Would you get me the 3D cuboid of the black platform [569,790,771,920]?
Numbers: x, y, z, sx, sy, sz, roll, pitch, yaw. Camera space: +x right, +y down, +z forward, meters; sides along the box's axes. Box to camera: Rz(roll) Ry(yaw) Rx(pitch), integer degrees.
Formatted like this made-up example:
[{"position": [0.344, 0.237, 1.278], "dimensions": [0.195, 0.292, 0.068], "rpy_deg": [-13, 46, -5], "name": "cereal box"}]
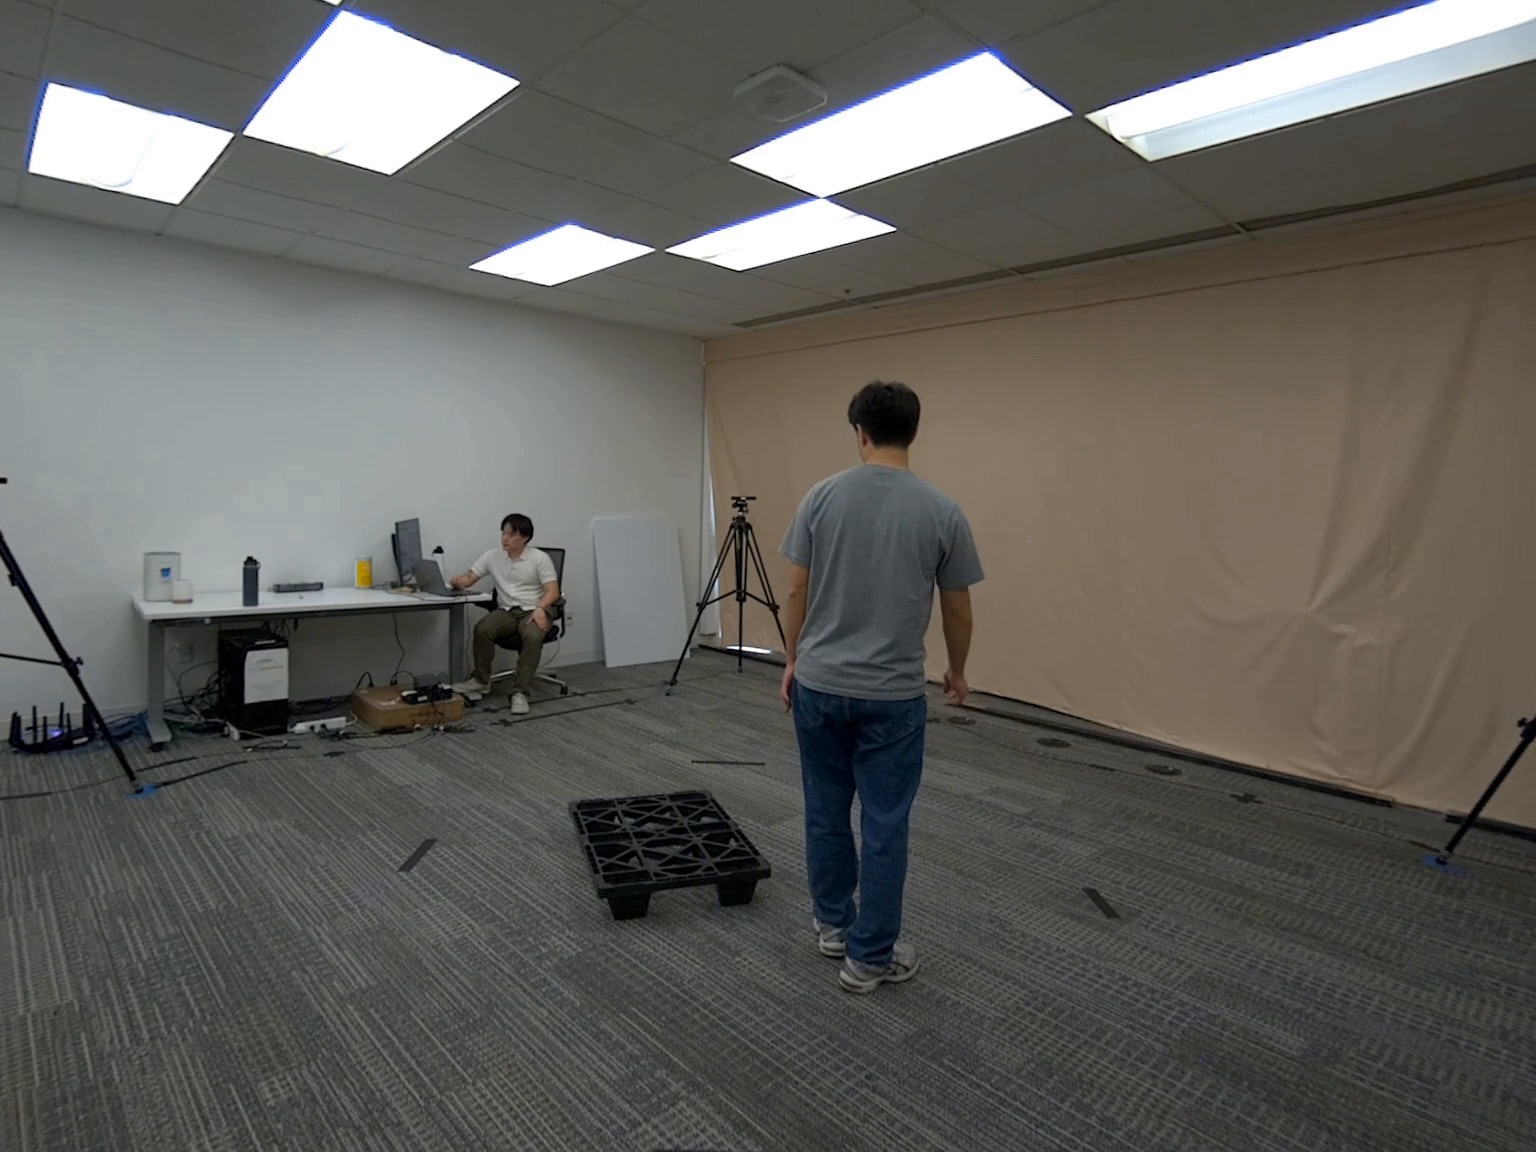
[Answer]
[{"position": [-0.407, 1.025, 3.169], "dimensions": [0.596, 0.143, 0.820], "rpy_deg": [0, 6, -19], "name": "black platform"}]
